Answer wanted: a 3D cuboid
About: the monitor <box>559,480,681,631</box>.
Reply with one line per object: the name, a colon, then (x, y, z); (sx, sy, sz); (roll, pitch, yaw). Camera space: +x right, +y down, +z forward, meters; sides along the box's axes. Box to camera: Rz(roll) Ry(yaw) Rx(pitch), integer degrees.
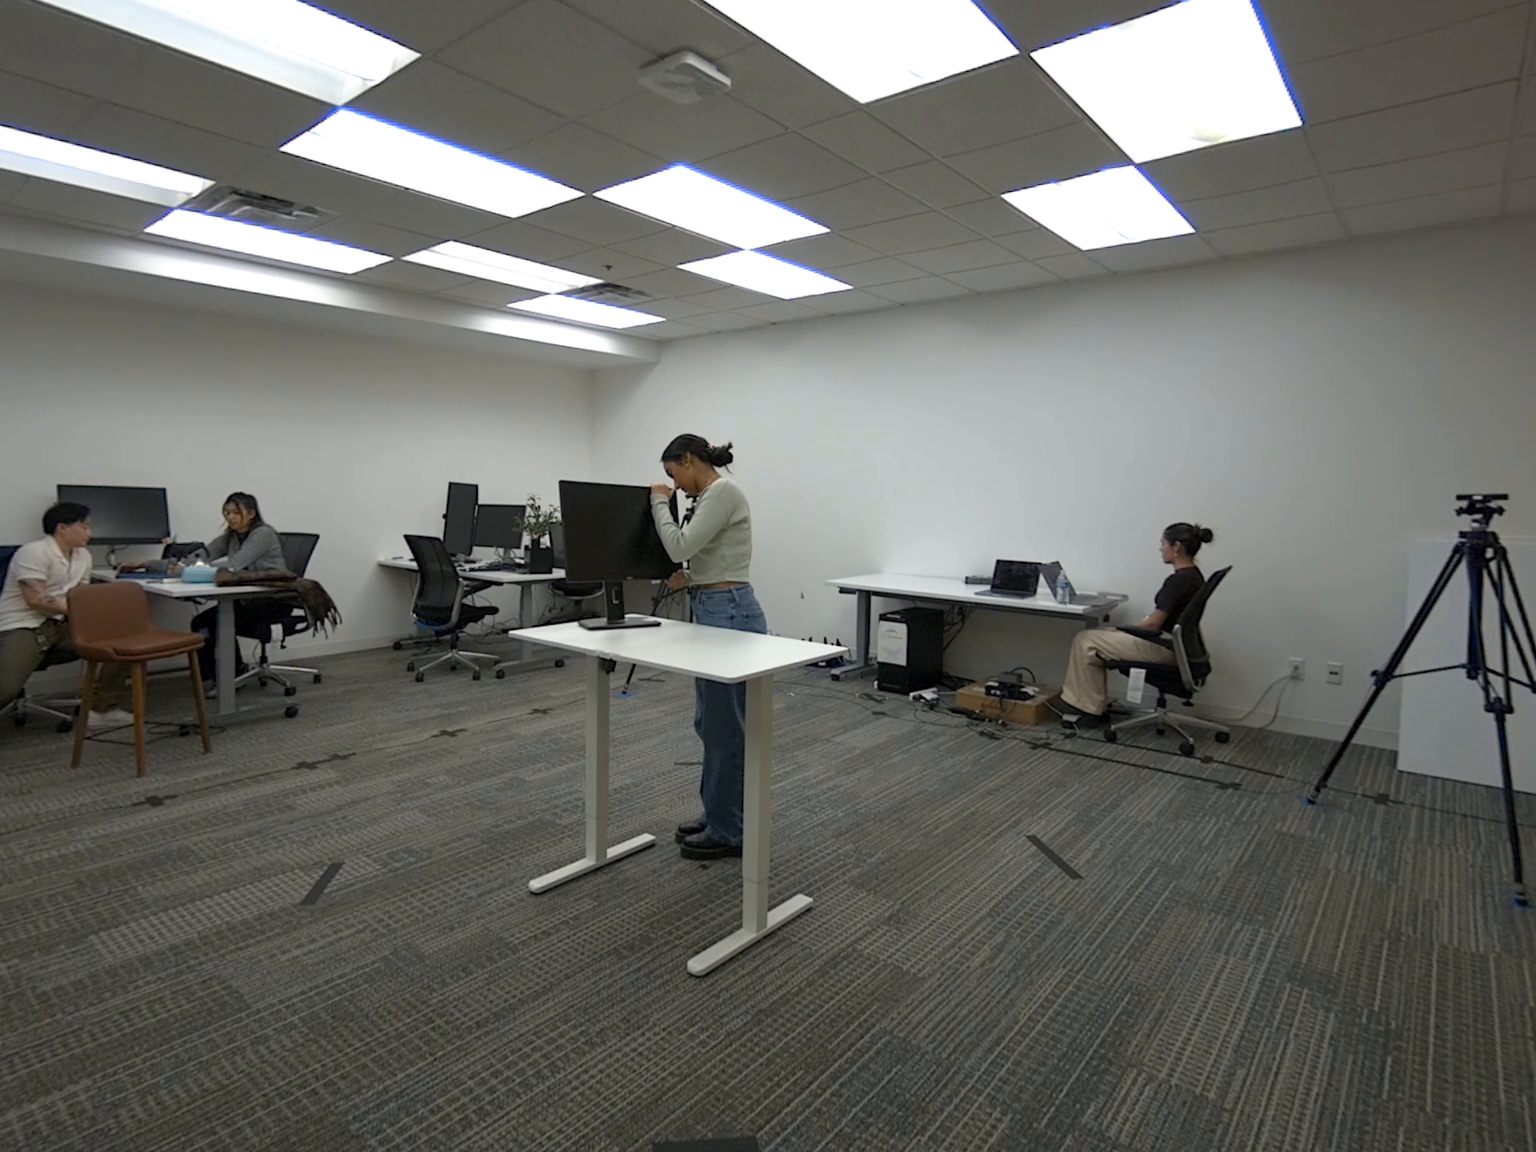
monitor: (-0.562, -0.076, 3.115); (0.193, 0.521, 0.522); (4, 4, 43)
